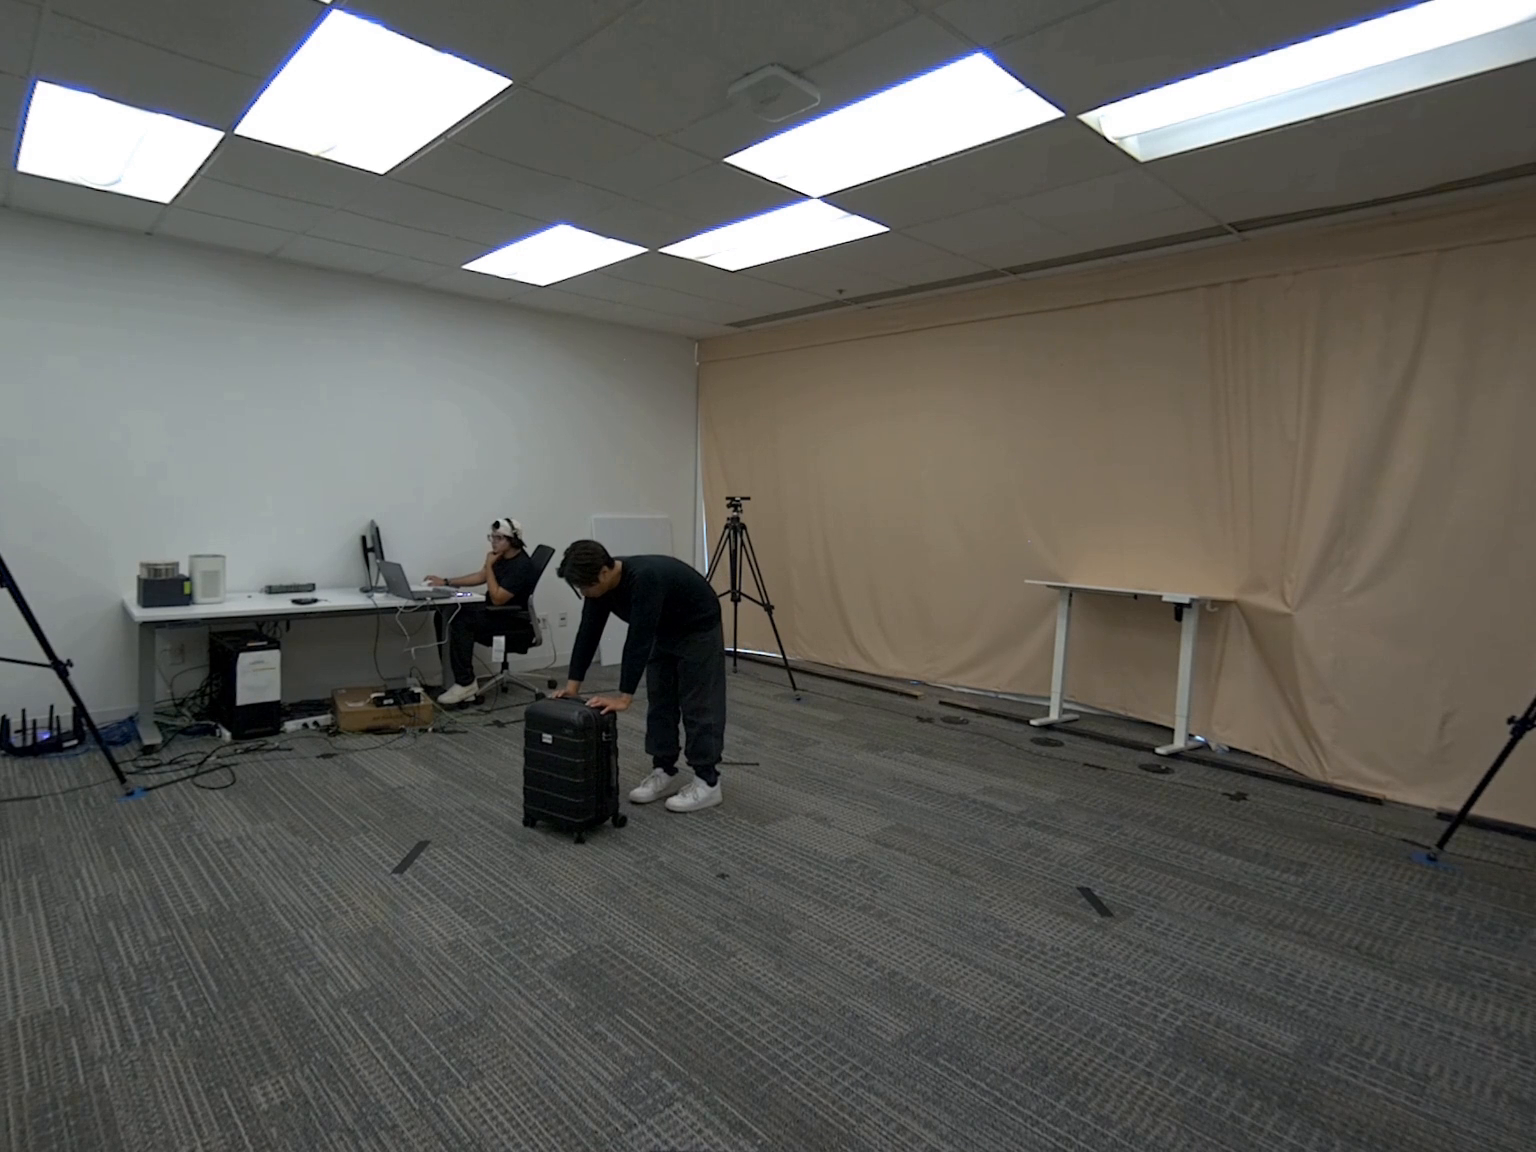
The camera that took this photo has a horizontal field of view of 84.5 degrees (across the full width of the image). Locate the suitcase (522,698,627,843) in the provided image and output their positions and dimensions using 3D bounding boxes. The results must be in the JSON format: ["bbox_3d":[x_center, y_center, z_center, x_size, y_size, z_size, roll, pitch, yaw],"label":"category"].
[{"bbox_3d":[-0.828,0.781,3.501,0.384,0.547,0.243,4,5,34],"label":"suitcase"}]
